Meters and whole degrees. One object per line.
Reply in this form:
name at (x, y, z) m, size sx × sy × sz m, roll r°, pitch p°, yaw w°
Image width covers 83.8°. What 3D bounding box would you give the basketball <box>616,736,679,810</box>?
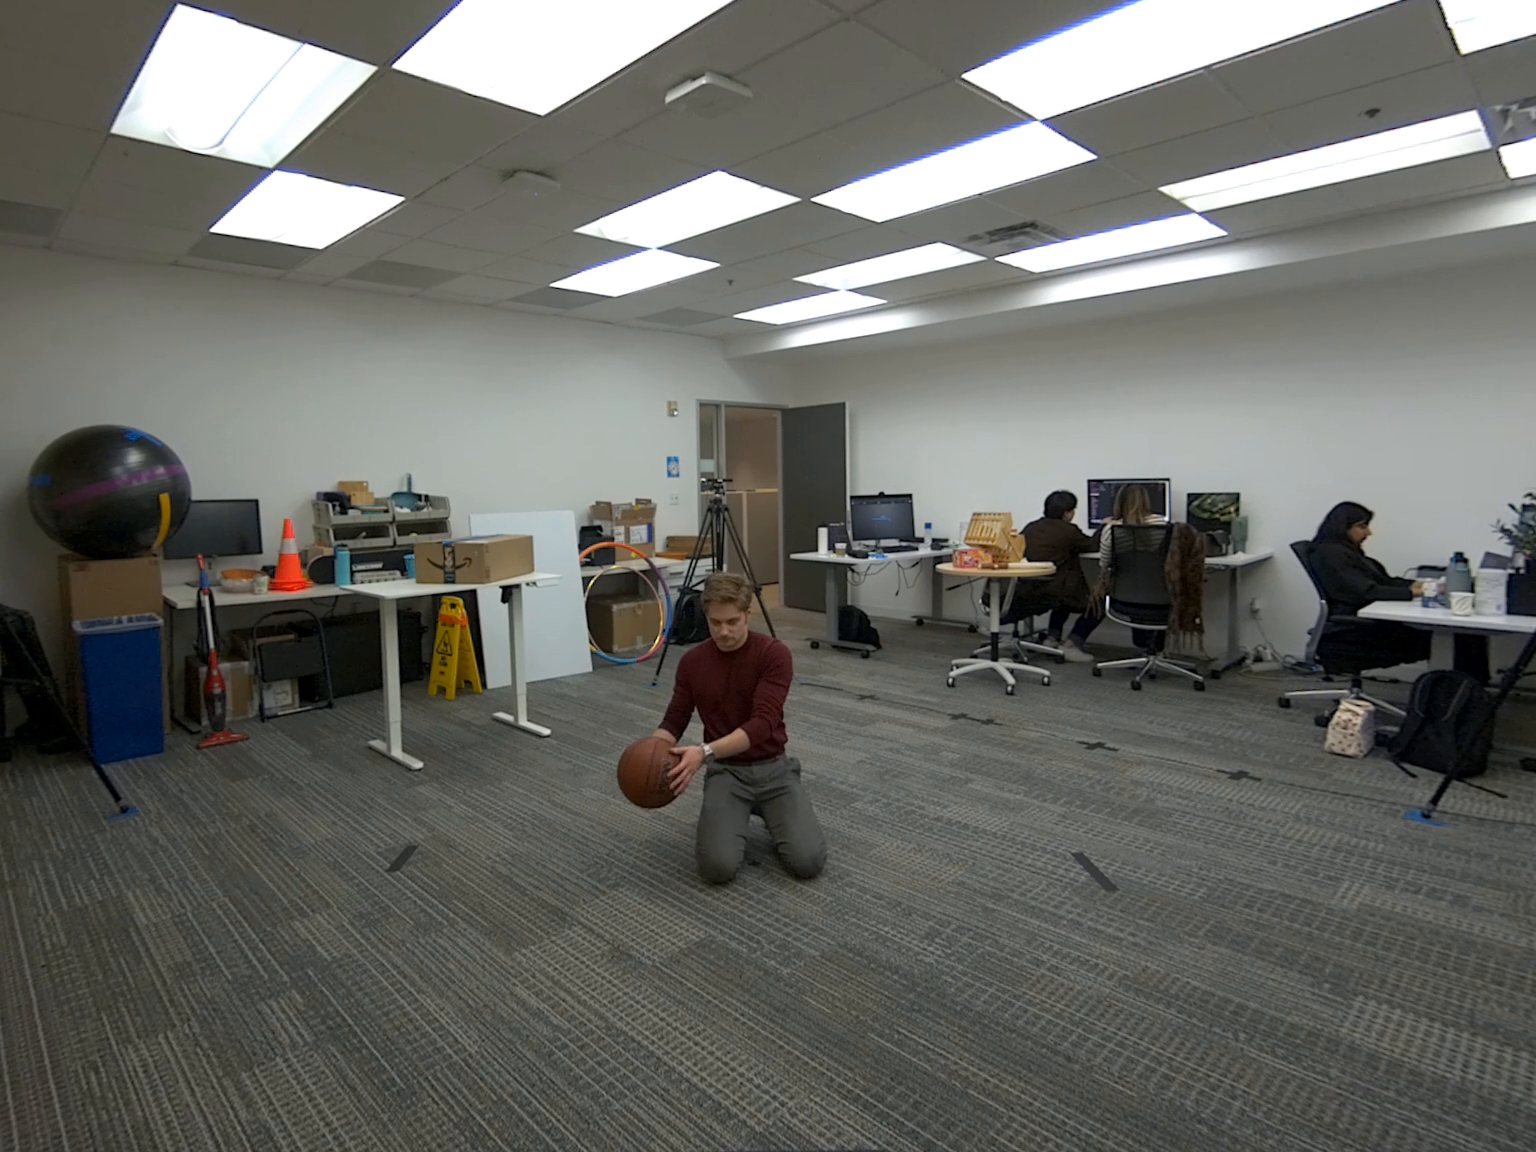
basketball at (-0.386, 0.677, 2.936) m, size 0.236 × 0.235 × 0.237 m, roll -1°, pitch 5°, yaw -2°
